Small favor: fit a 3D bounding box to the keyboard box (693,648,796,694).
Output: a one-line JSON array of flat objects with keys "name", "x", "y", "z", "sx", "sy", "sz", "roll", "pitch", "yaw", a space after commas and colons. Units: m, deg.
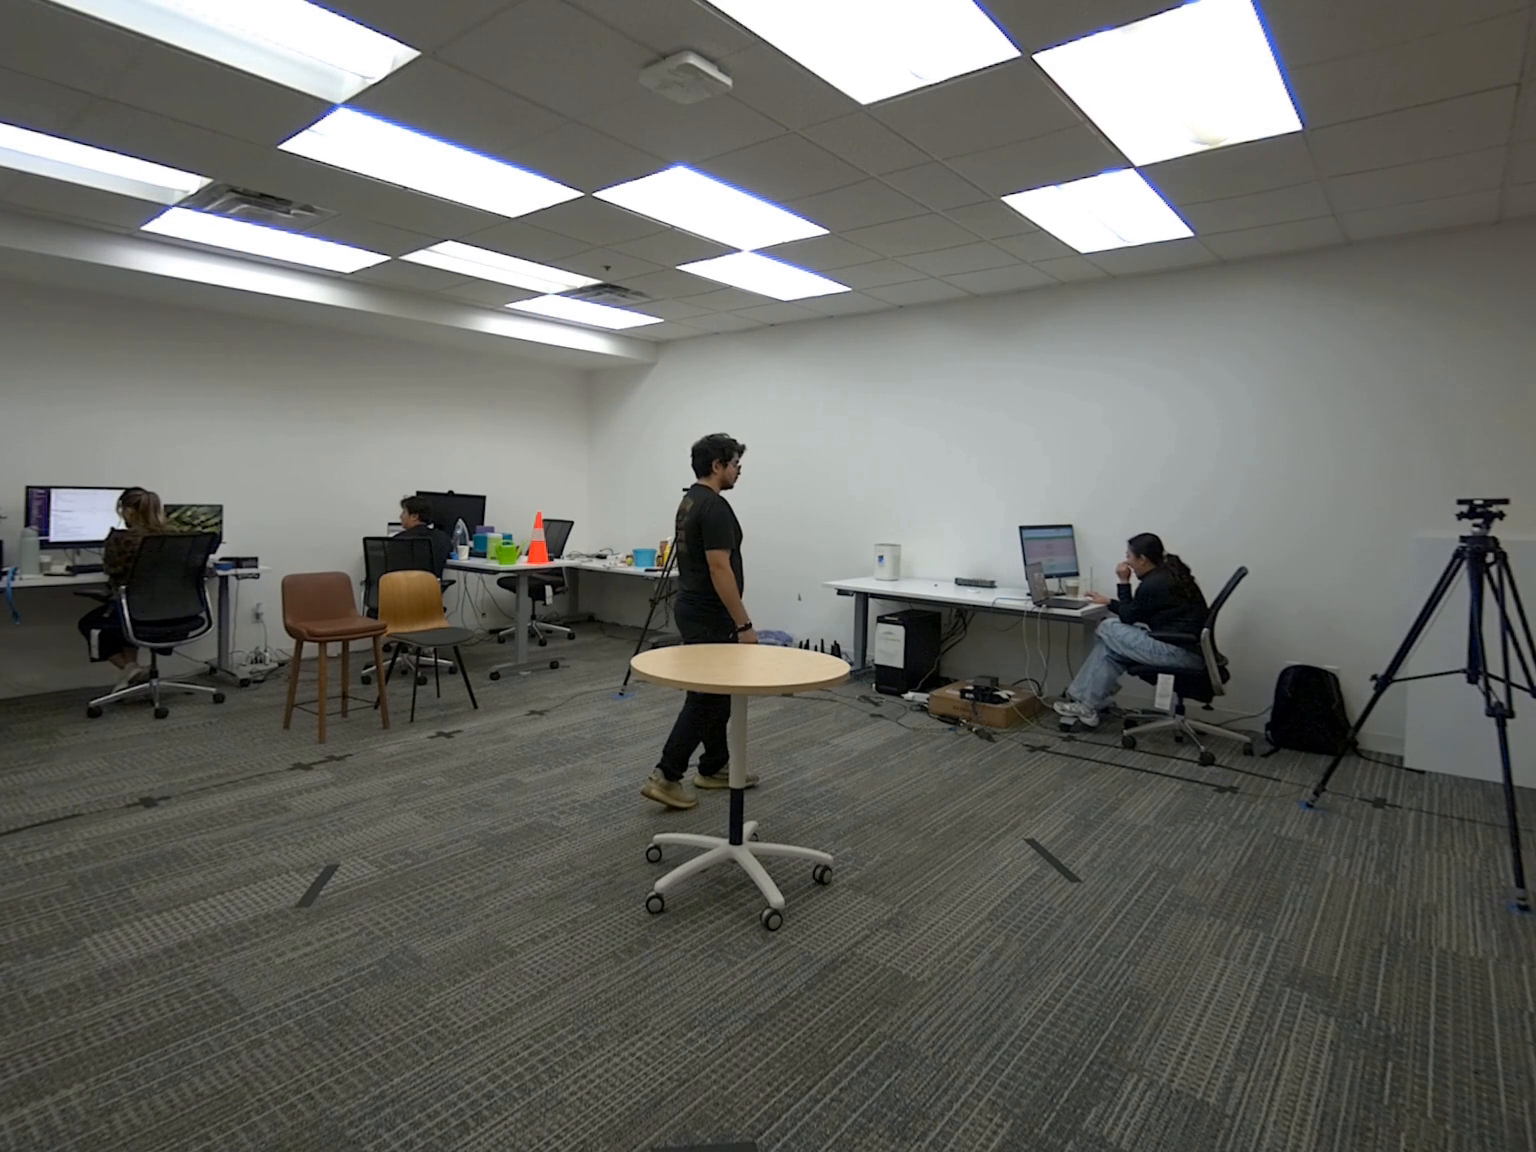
[{"name": "keyboard box", "x": -0.100, "y": 0.411, "z": 3.629, "sx": 0.427, "sy": 0.176, "sz": 0.060, "roll": 4, "pitch": -1, "yaw": -20}]
